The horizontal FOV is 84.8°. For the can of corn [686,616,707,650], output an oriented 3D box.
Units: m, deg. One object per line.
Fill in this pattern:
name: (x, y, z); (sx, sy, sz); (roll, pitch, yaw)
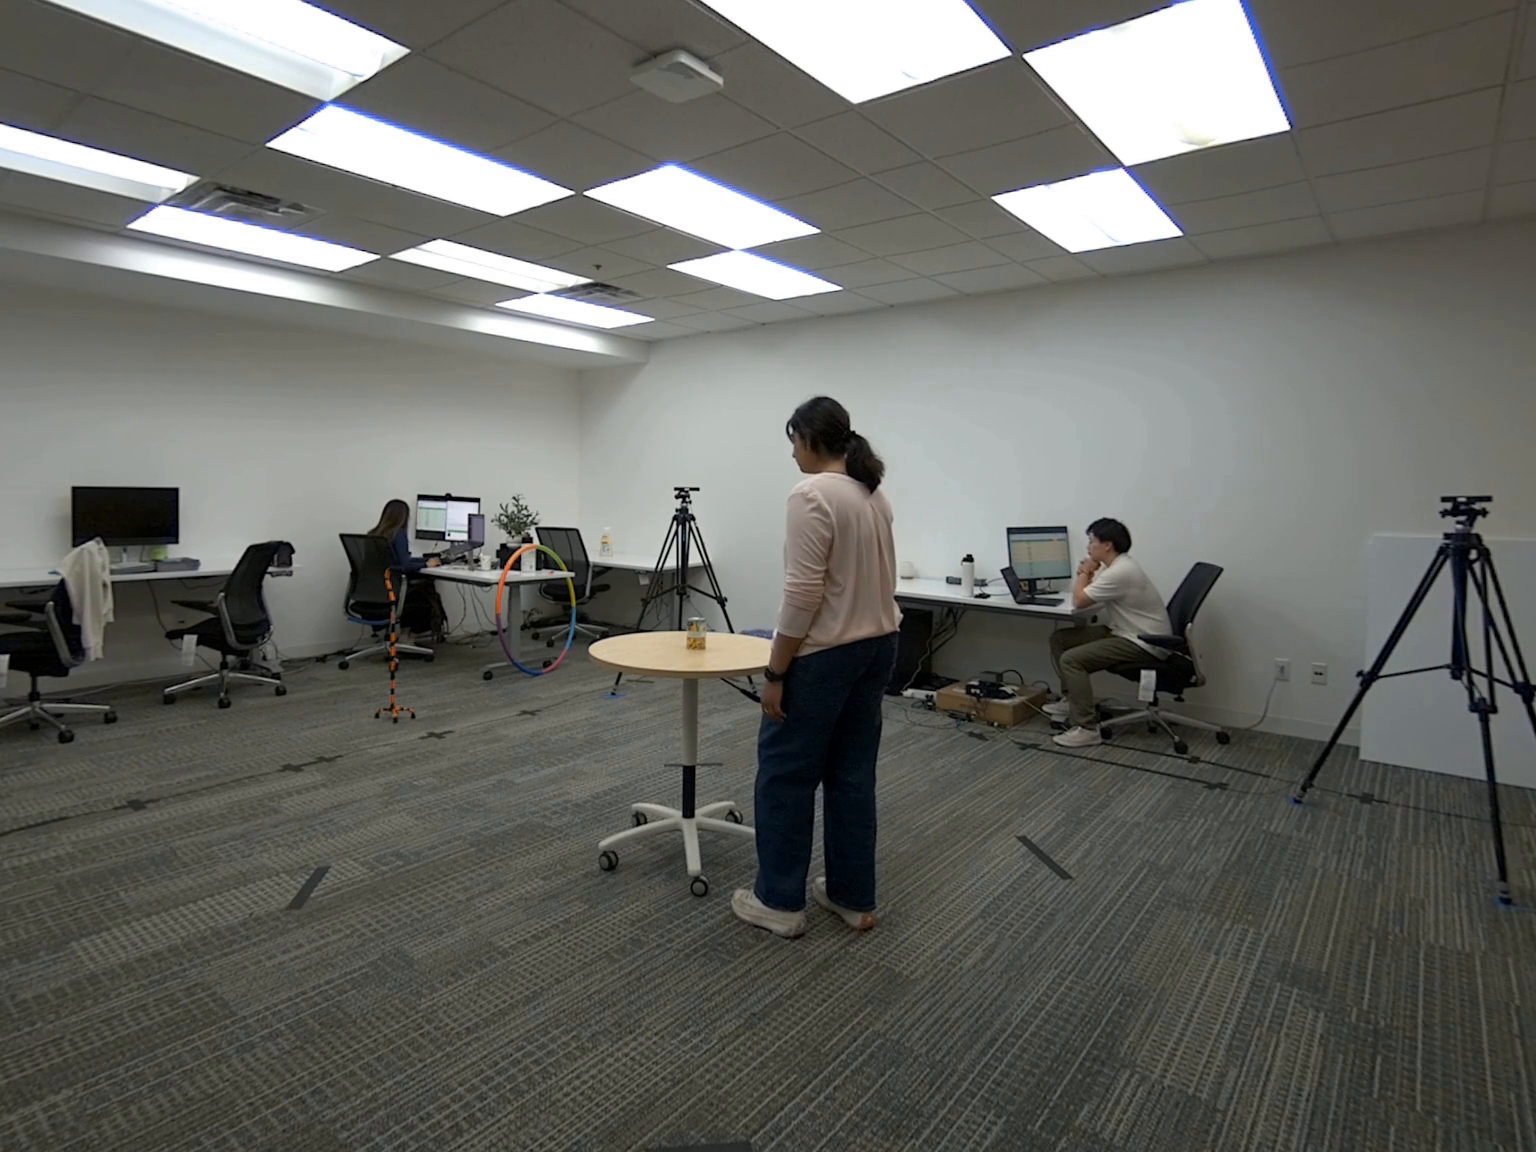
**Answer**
can of corn: (-0.282, 0.216, 3.218); (0.074, 0.111, 0.074); (1, 3, -2)
